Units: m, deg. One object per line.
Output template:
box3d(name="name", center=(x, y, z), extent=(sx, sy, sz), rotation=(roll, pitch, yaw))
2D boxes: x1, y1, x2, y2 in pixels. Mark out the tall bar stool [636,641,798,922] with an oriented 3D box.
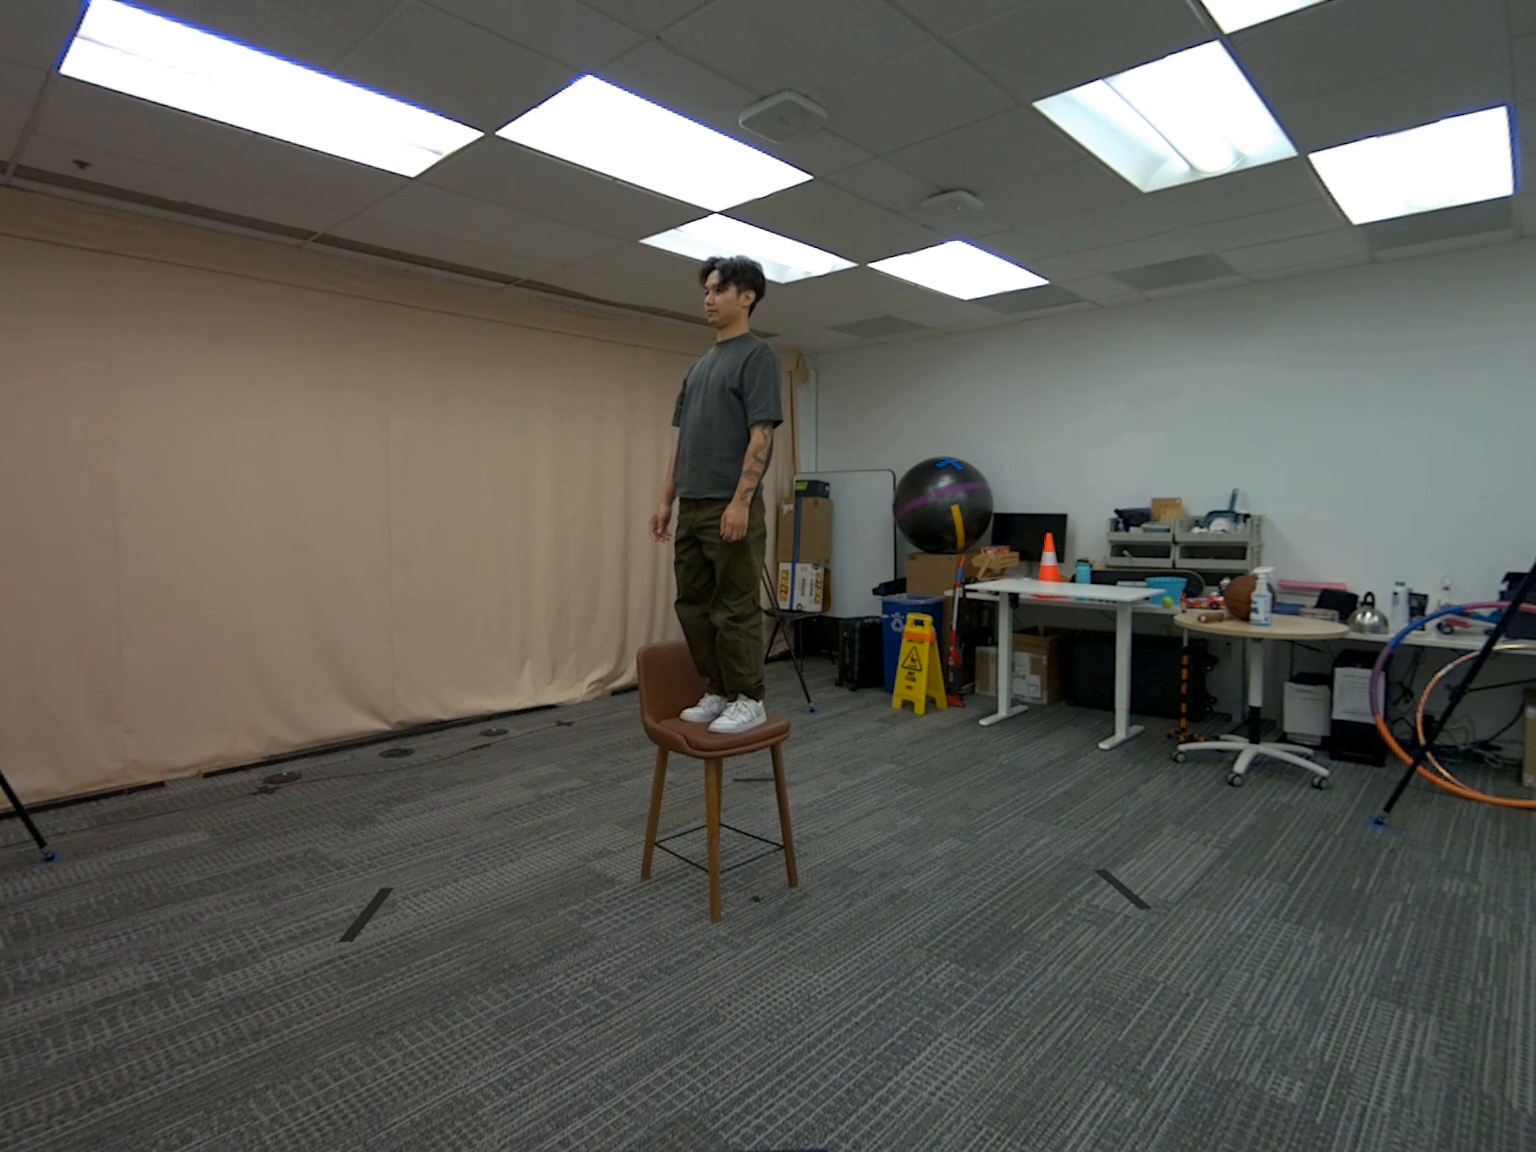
box3d(name="tall bar stool", center=(-0.194, 0.699, 3.096), extent=(0.442, 0.888, 0.483), rotation=(-3, 3, -43))
